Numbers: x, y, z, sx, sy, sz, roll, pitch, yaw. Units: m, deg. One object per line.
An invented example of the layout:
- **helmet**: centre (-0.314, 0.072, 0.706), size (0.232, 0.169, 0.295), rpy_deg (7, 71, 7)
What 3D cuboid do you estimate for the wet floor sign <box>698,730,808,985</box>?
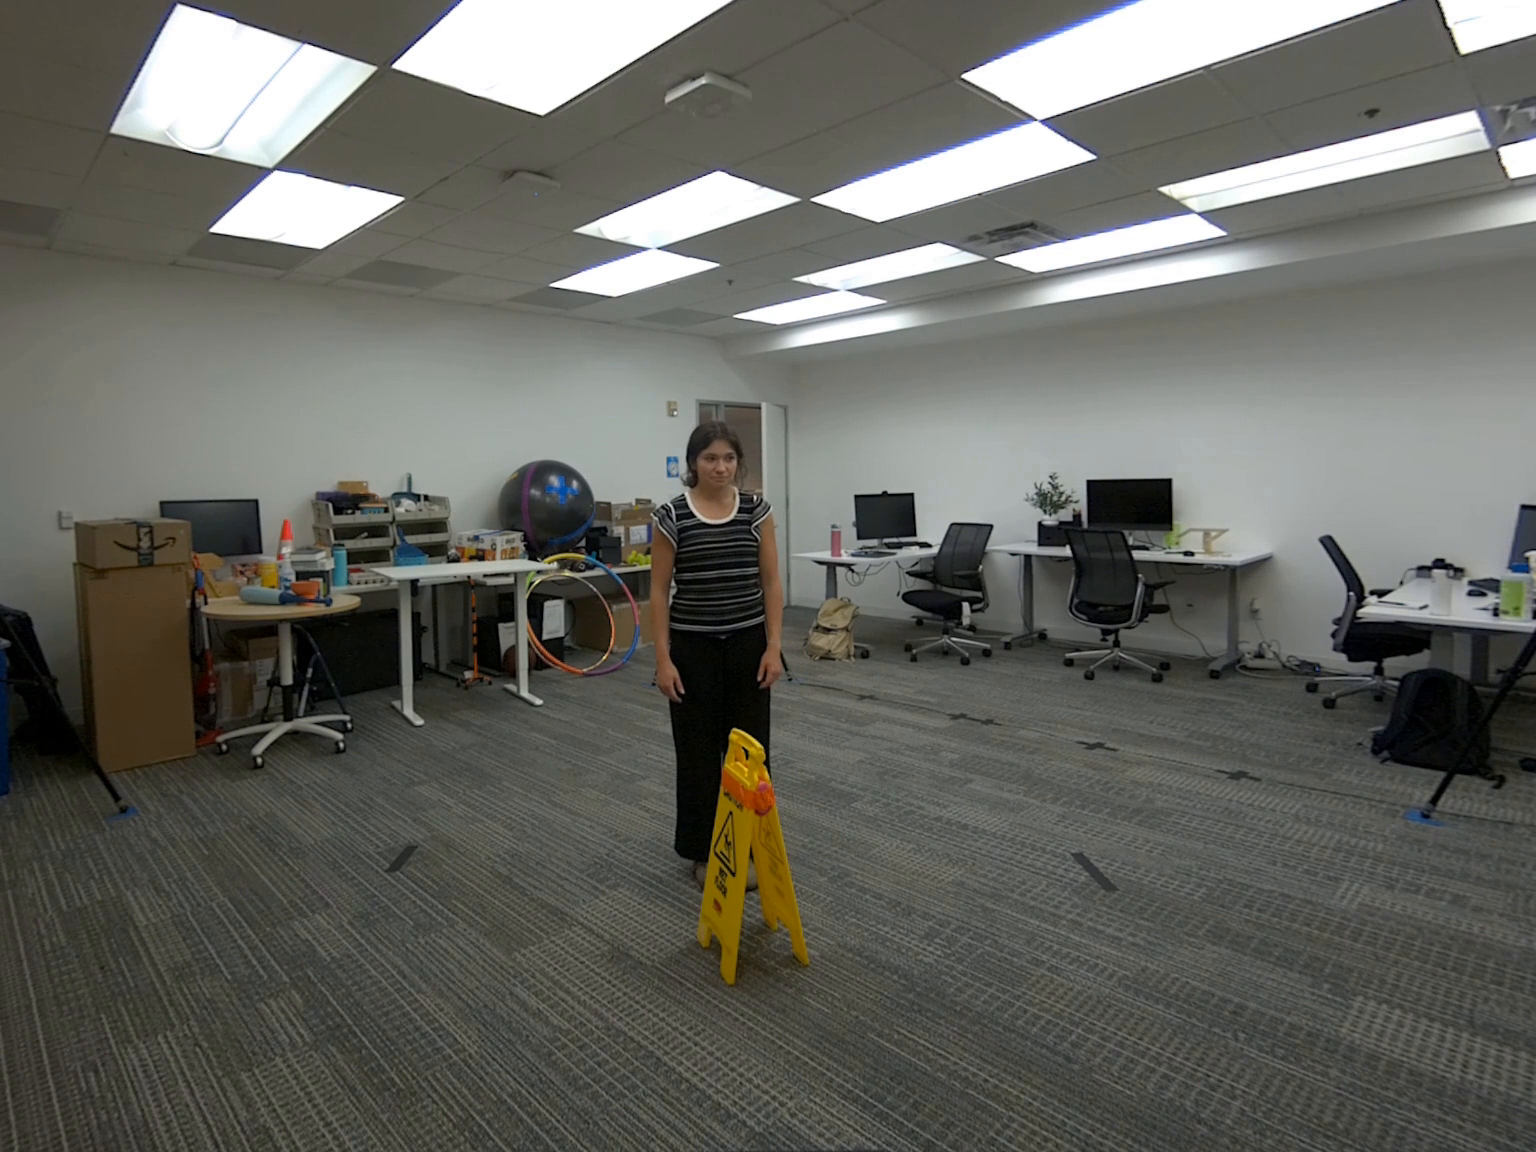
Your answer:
- **wet floor sign**: centre (-0.056, 0.795, 2.501), size (0.284, 0.643, 0.289), rpy_deg (-3, 5, -22)
